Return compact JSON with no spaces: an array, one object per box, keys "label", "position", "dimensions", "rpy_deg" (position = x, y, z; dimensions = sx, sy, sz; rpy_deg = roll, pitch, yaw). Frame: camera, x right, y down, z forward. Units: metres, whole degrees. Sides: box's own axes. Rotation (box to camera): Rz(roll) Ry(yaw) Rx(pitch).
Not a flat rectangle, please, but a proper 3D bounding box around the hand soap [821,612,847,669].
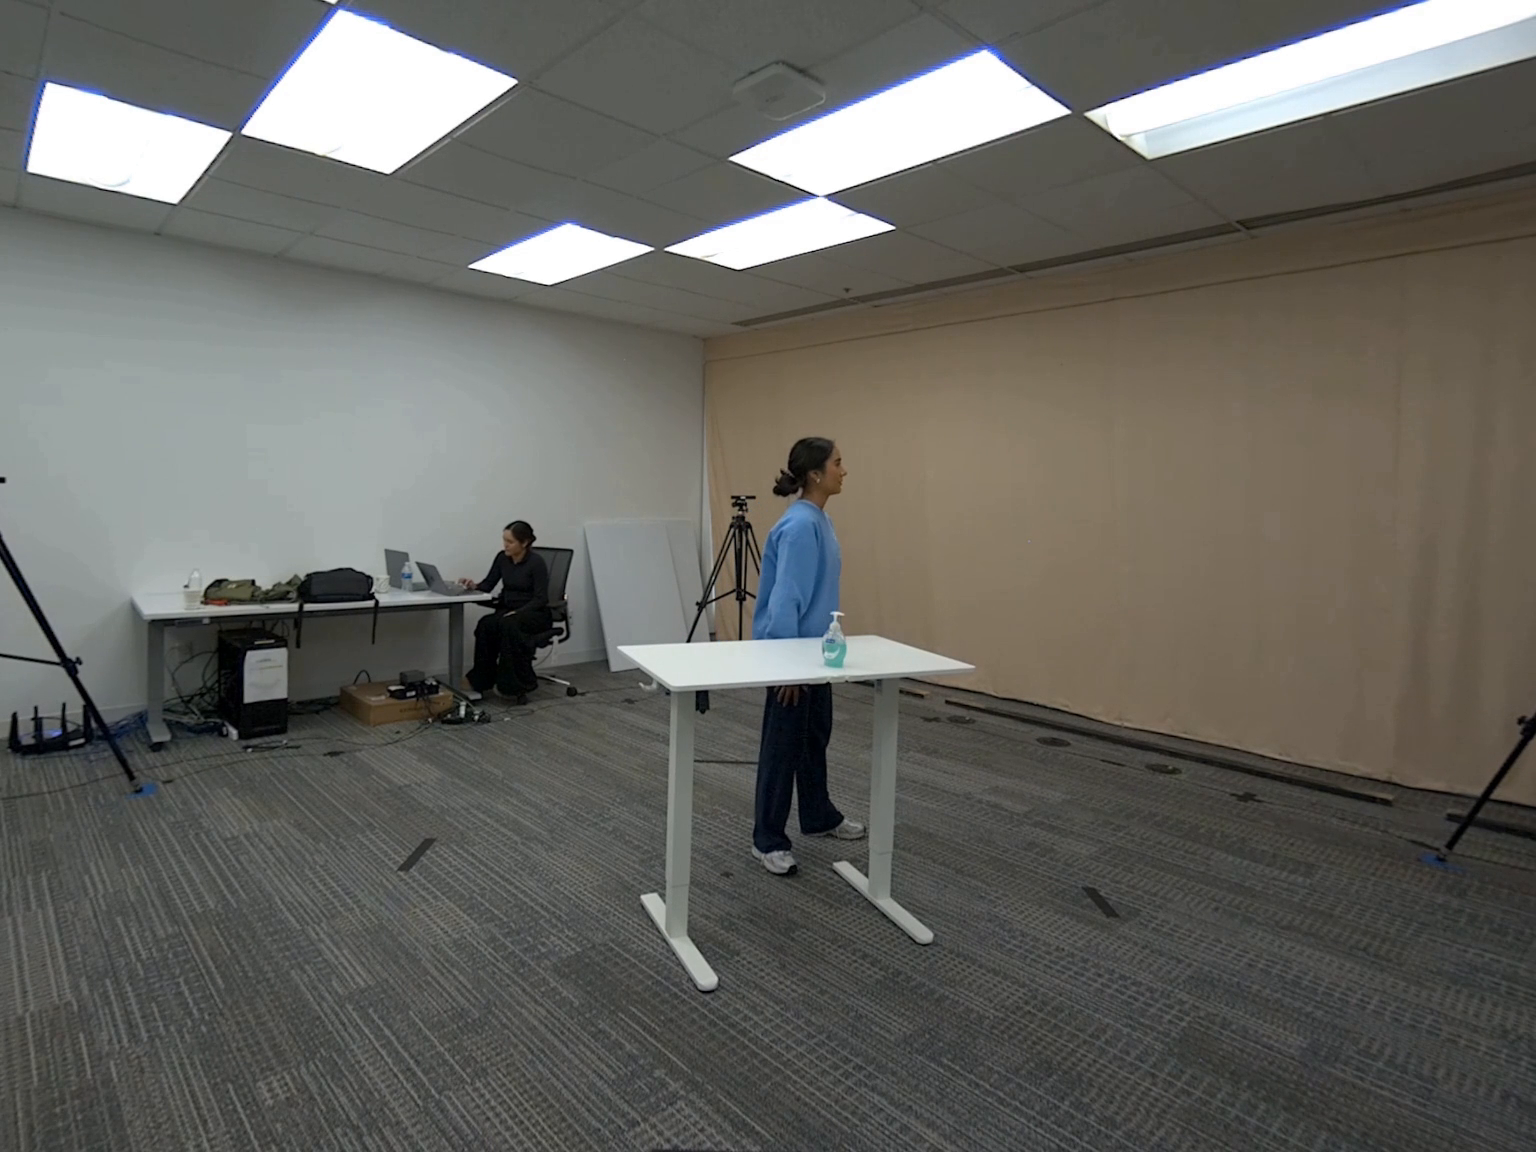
[{"label":"hand soap","position":[0.199,0.196,2.575],"dimensions":[0.042,0.168,0.087],"rpy_deg":[-1,6,-43]}]
